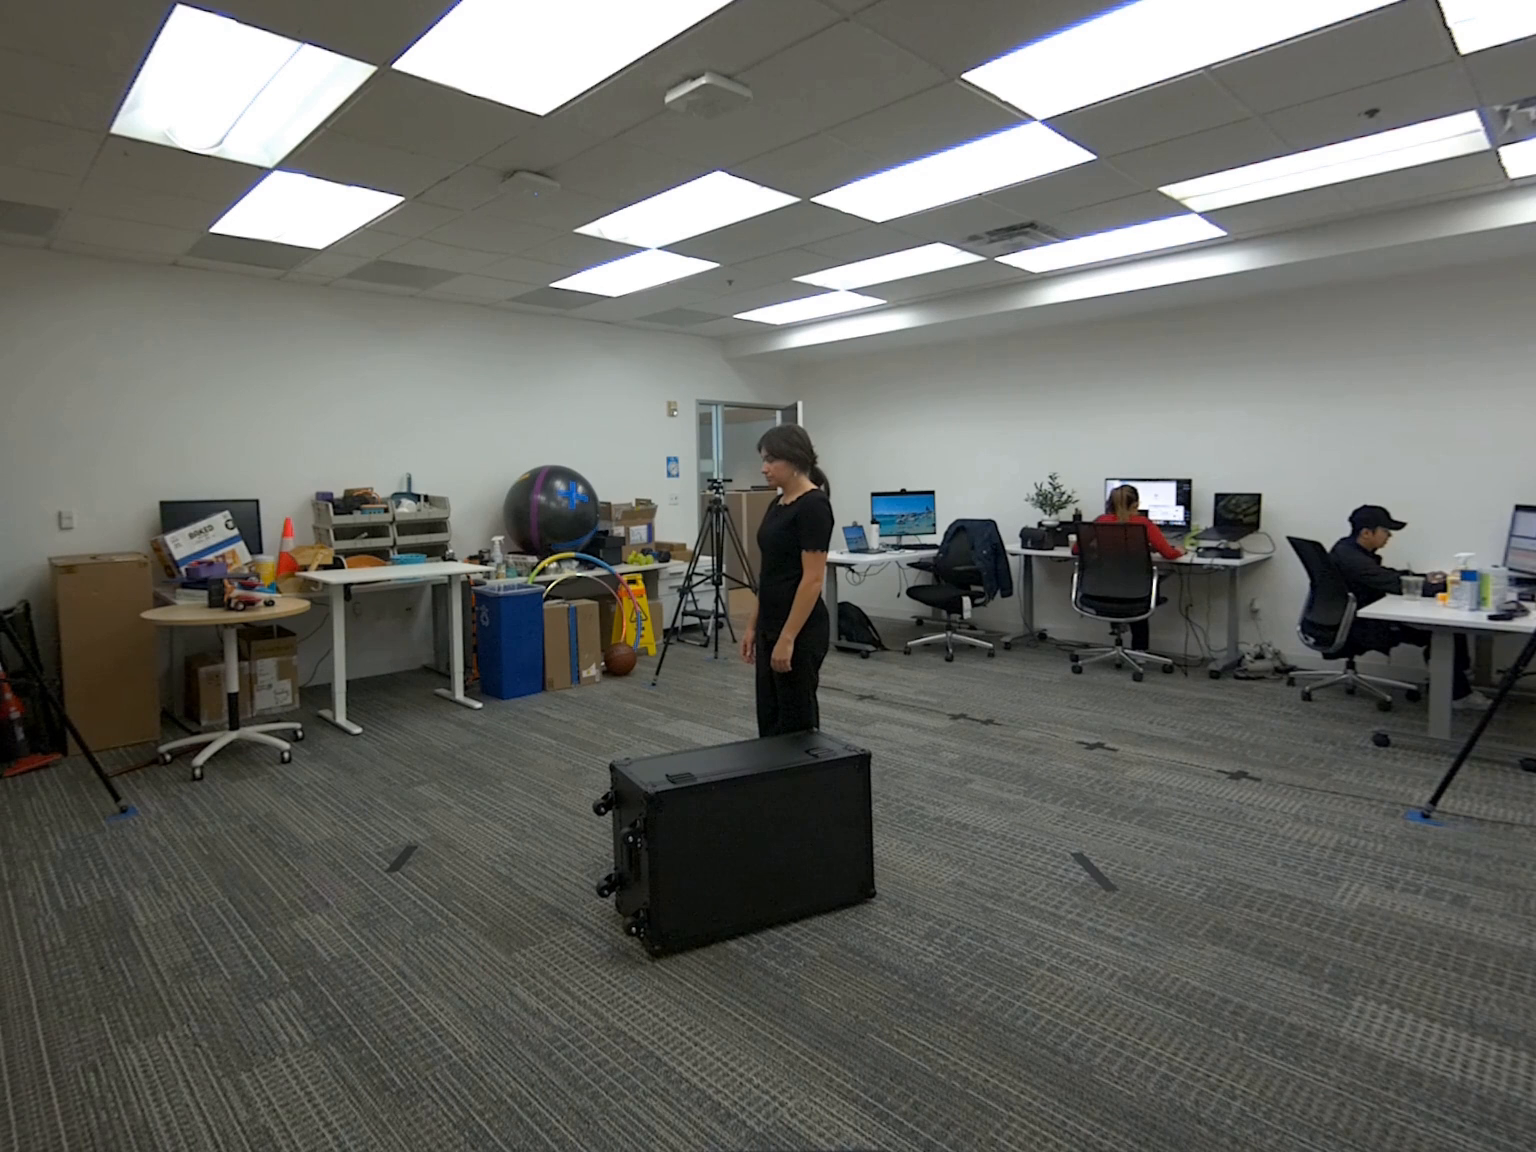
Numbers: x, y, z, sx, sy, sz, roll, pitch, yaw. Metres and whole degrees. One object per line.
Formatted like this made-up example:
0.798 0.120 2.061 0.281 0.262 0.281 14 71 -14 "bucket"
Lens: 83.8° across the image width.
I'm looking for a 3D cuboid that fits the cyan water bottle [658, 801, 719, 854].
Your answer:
-0.308 0.973 3.336 0.095 0.092 0.277 2 6 29 "cyan water bottle"
